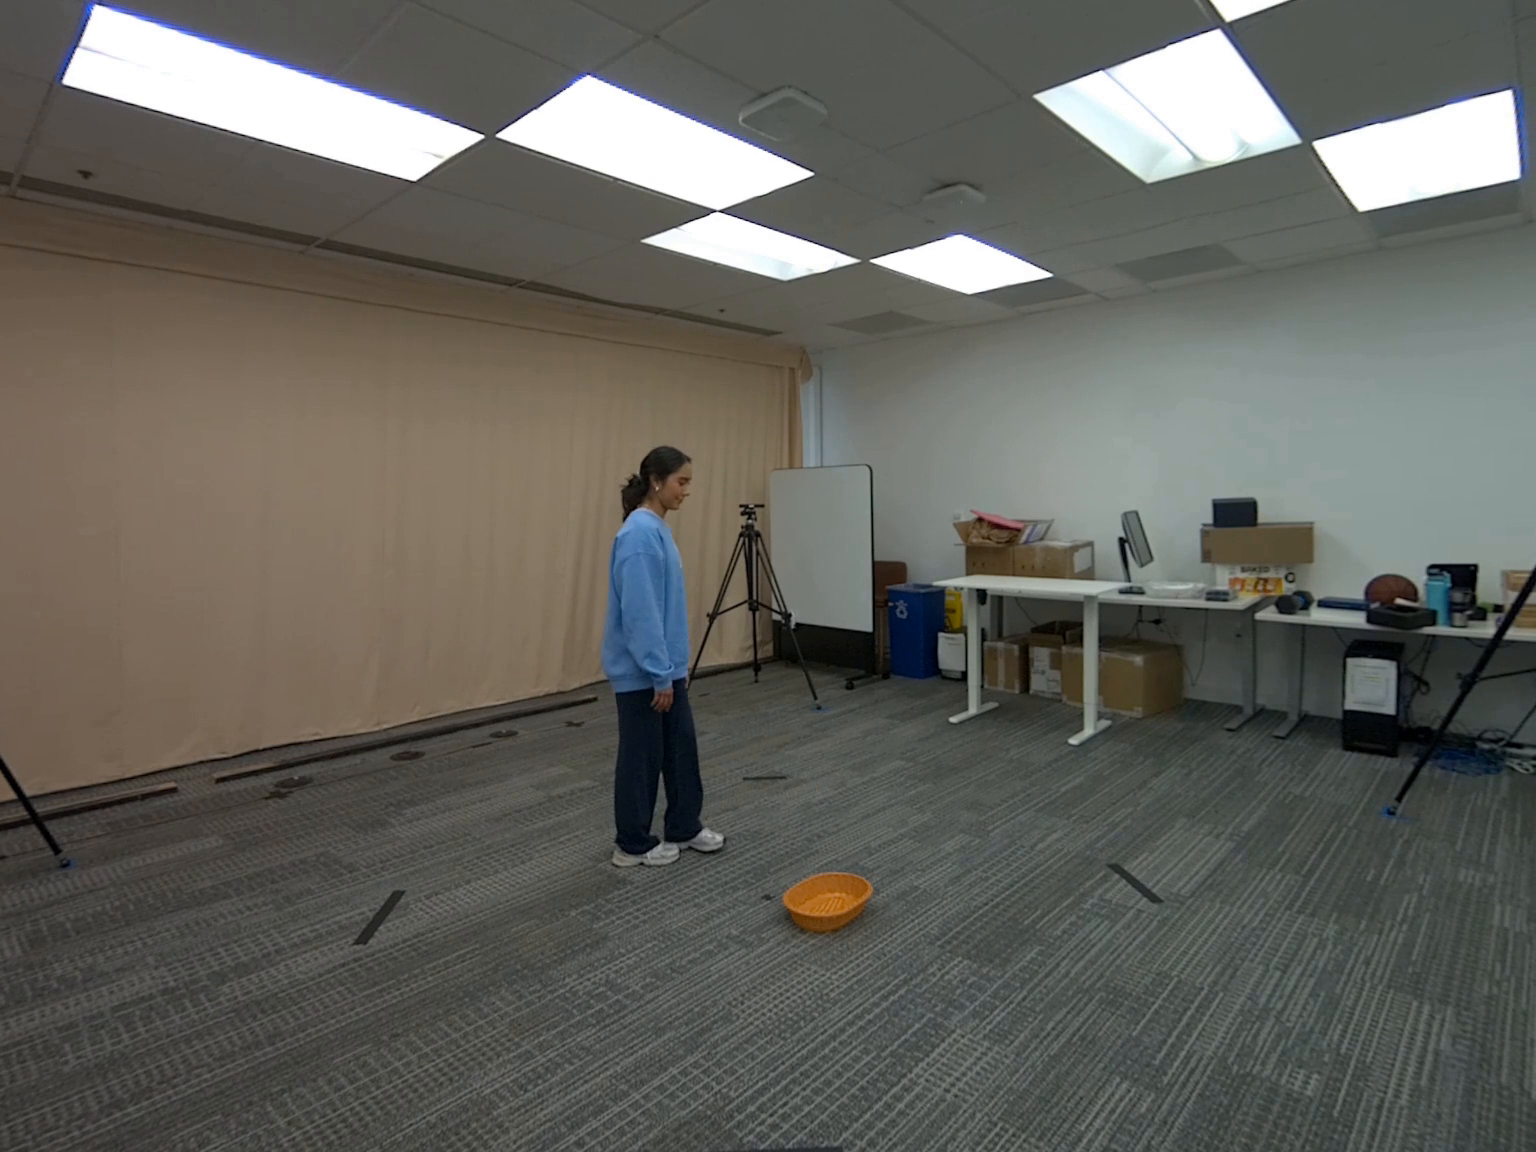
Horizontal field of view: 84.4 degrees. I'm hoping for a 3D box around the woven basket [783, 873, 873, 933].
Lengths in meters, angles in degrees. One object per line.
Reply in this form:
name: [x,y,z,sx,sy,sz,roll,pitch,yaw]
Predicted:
woven basket: [0.204,1.108,2.861,0.261,0.073,0.340,2,6,42]
